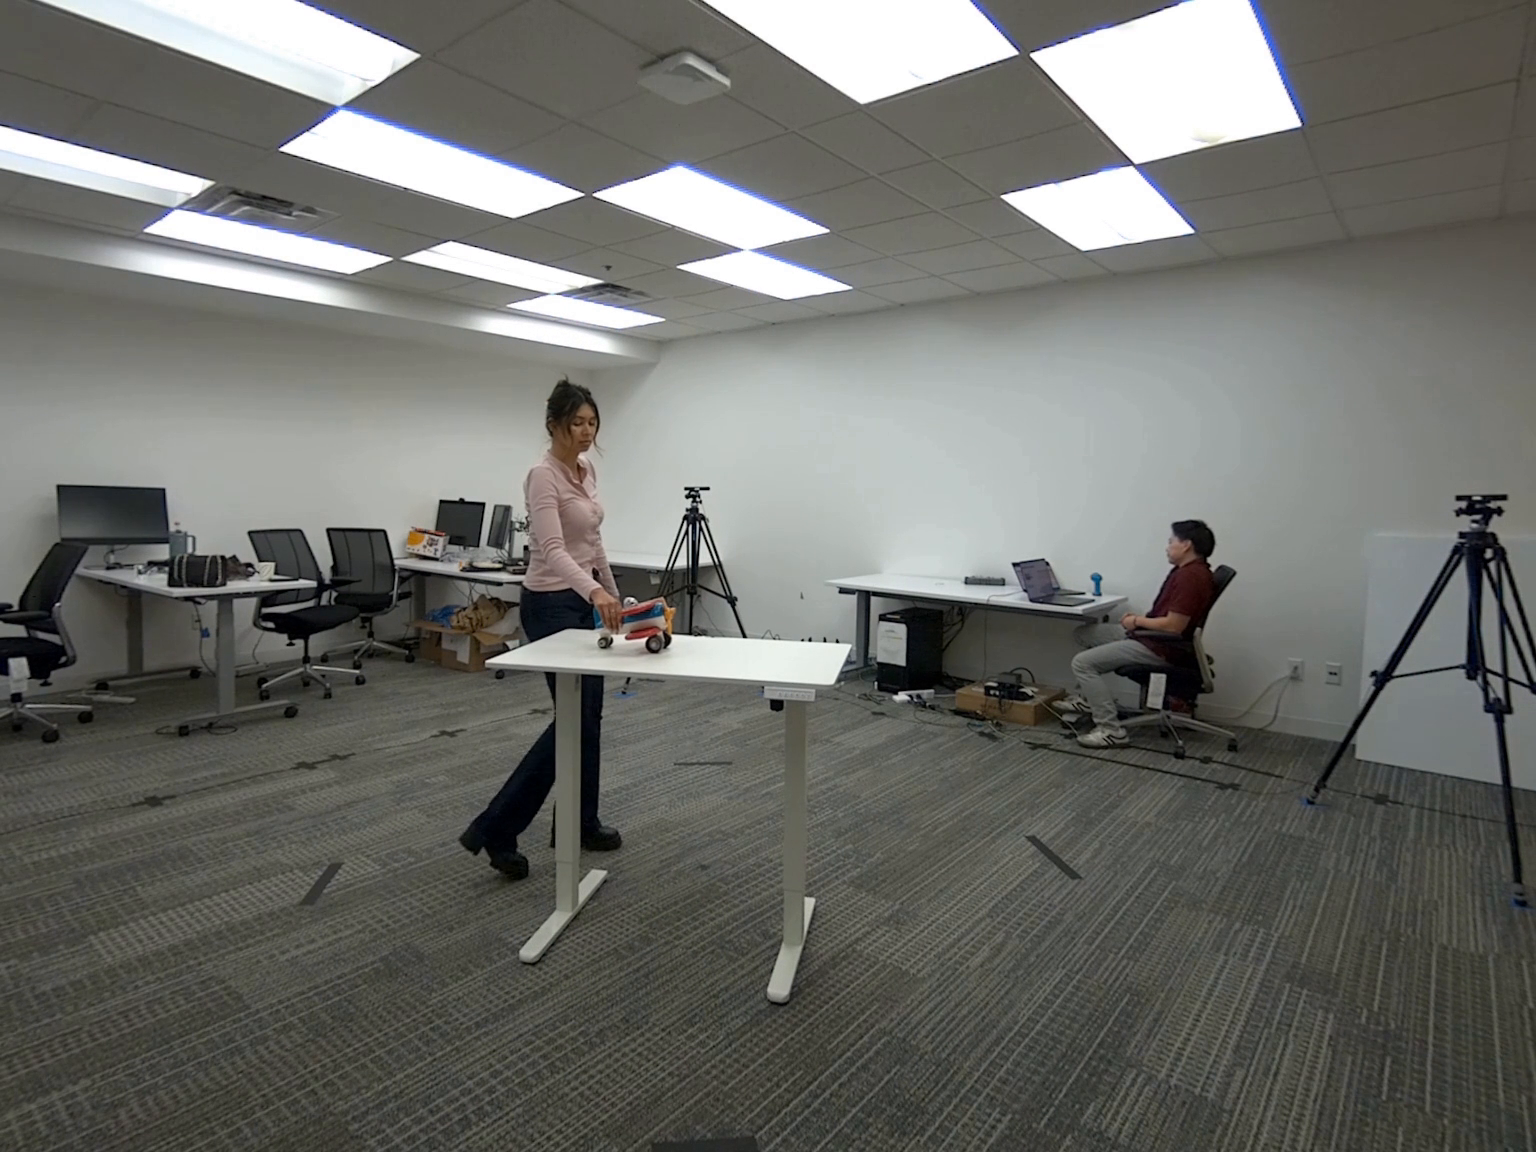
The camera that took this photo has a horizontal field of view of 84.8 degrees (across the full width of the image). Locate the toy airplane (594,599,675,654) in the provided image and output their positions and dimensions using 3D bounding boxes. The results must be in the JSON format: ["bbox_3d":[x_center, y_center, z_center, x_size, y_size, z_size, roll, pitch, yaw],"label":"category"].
[{"bbox_3d":[-0.432,0.155,2.643,0.255,0.156,0.256,-1,5,-17],"label":"toy airplane"}]
